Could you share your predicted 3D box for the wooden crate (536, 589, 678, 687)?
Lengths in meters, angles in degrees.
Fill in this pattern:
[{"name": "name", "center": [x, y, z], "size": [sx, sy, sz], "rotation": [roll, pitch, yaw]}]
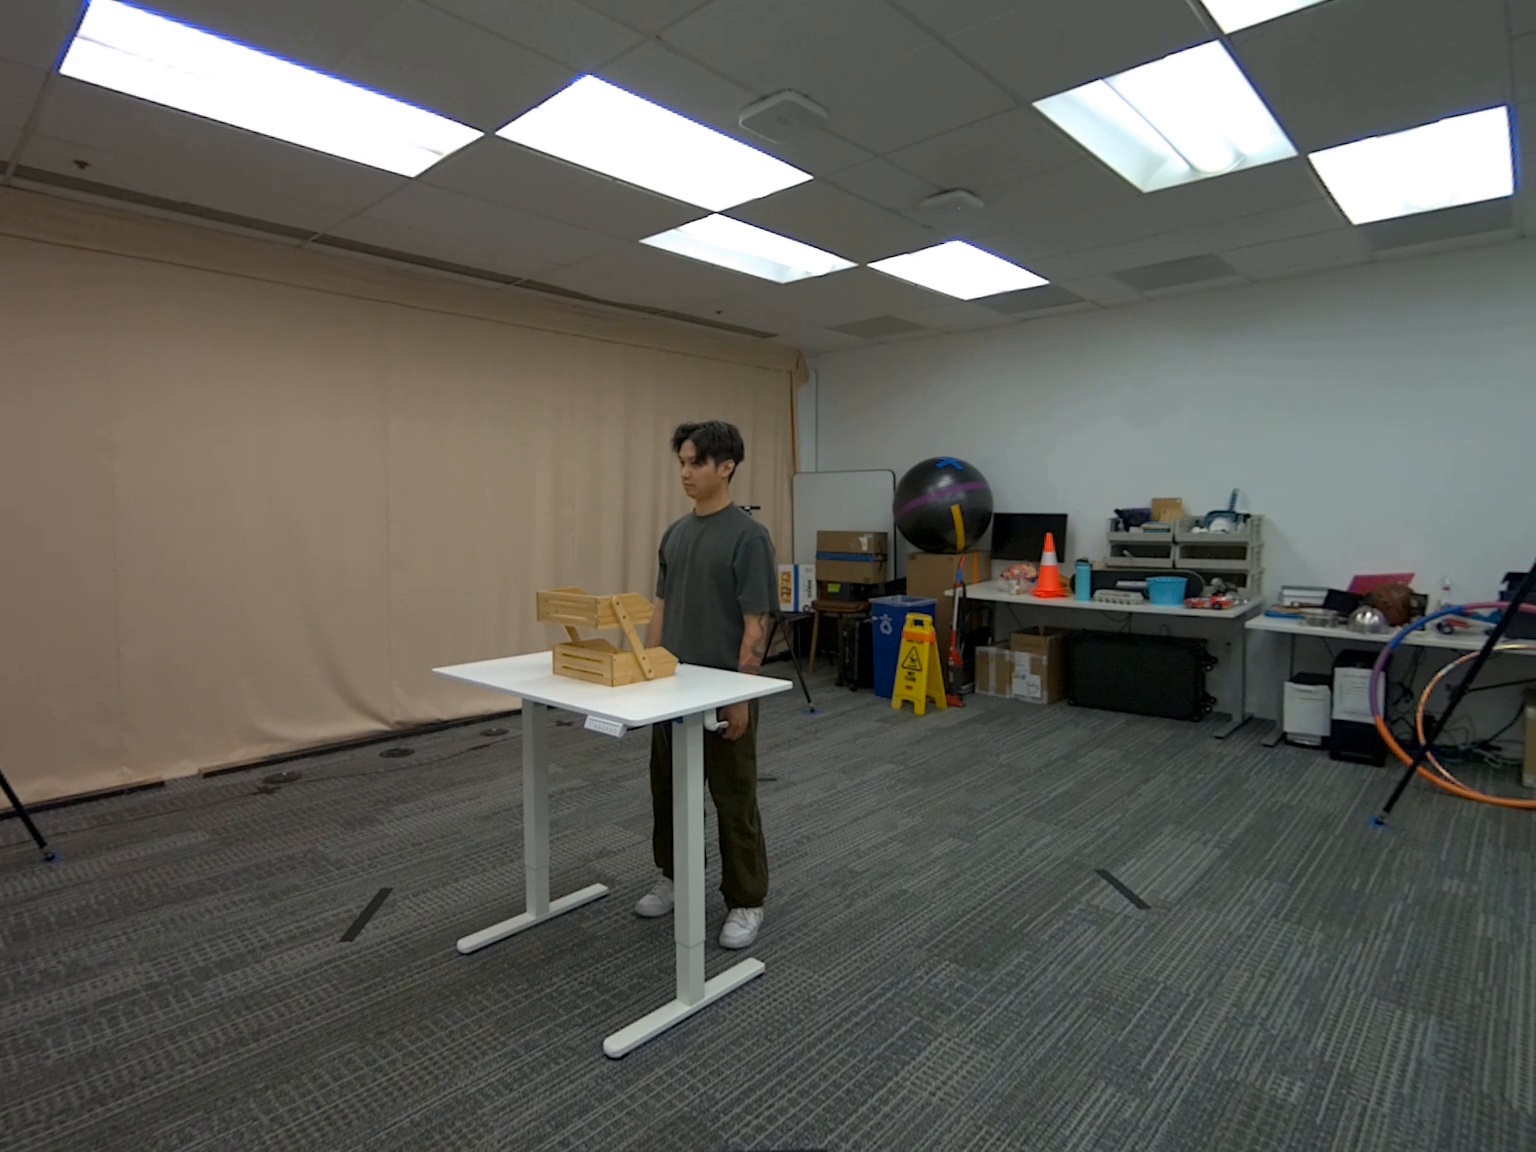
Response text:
[{"name": "wooden crate", "center": [-0.485, 0.168, 2.545], "size": [0.335, 0.273, 0.293], "rotation": [2, 5, 42]}]
